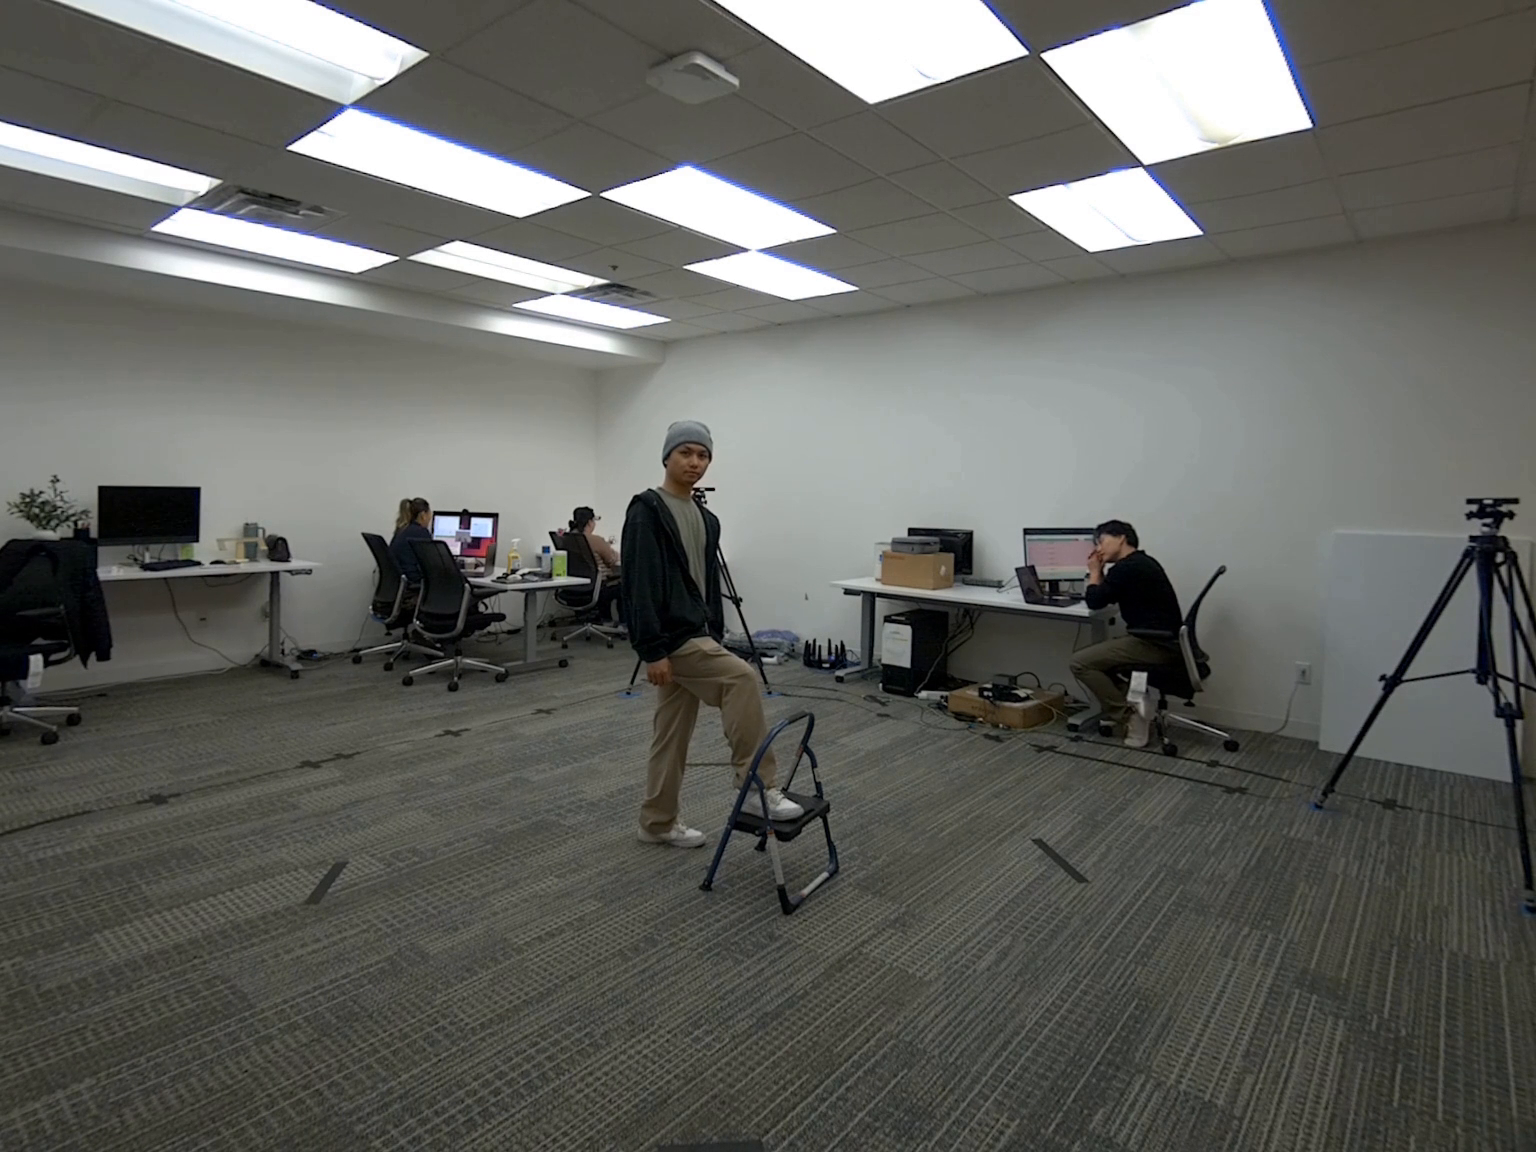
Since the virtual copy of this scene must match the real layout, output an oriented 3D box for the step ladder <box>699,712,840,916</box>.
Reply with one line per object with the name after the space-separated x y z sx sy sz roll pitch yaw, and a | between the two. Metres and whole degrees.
0.015 0.777 3.017 0.359 0.604 0.420 3 4 29 | step ladder
